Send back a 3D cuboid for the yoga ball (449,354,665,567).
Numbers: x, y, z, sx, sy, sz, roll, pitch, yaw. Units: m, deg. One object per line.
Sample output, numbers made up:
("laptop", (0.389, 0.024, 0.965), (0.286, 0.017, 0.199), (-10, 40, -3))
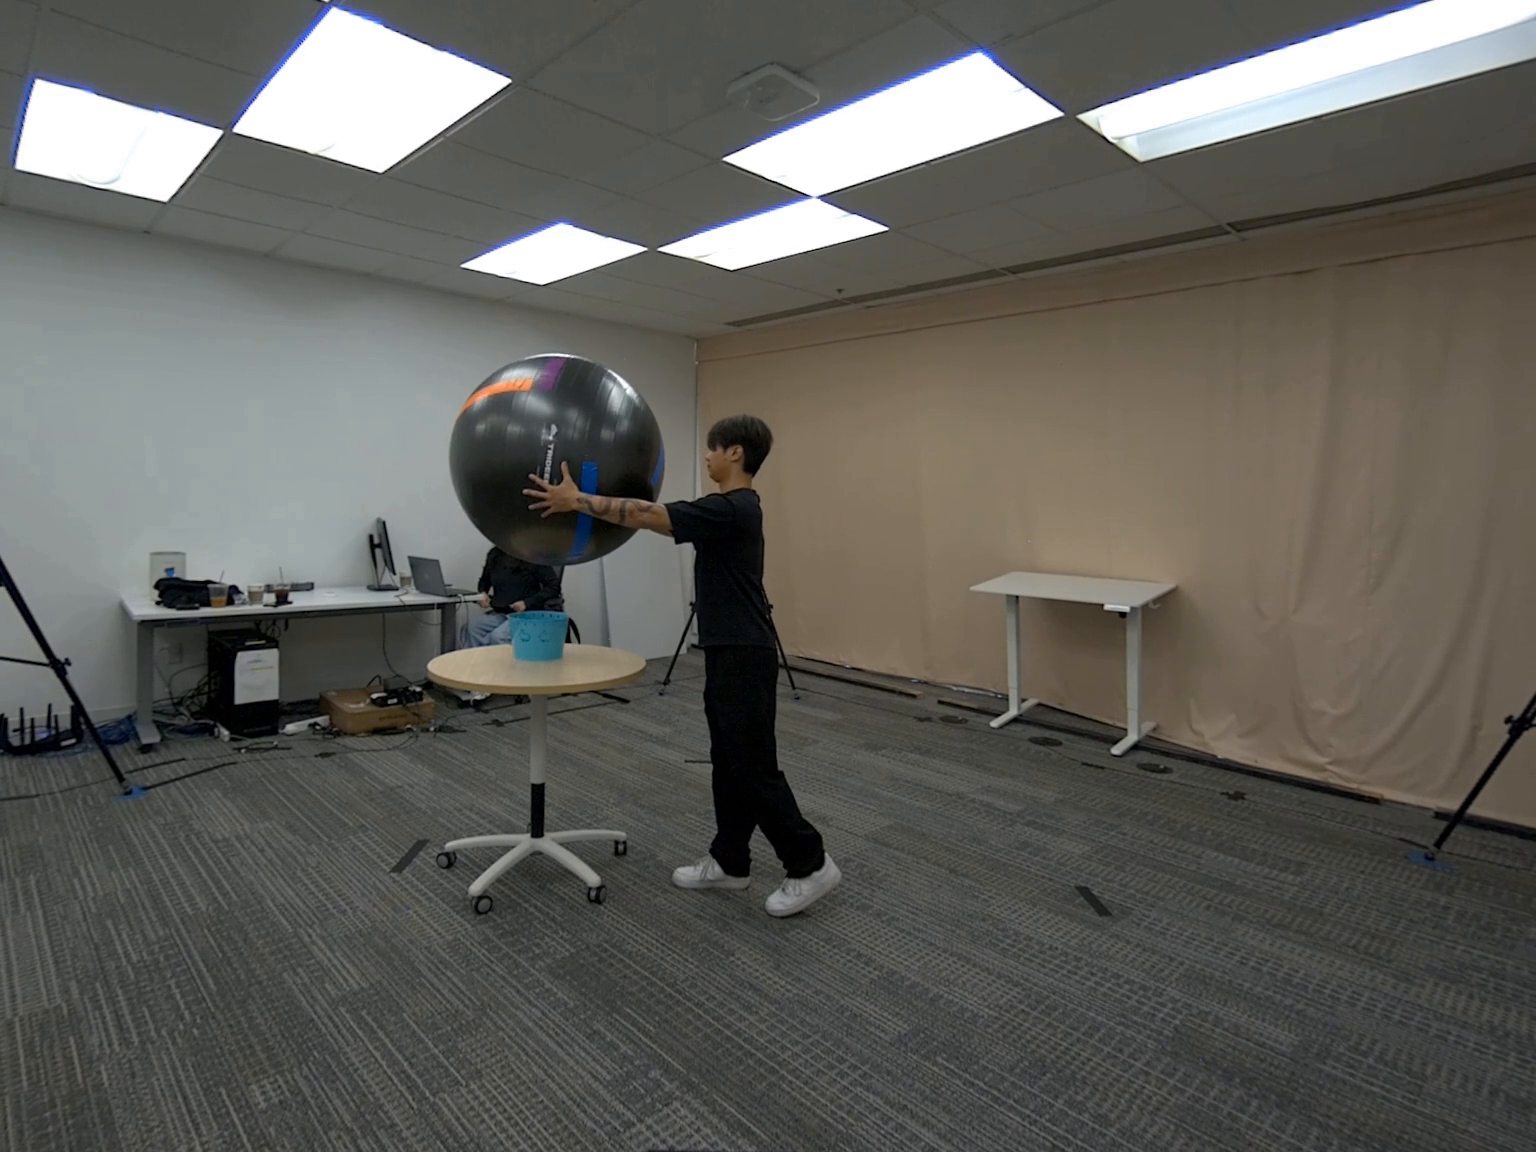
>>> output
("yoga ball", (-0.769, -0.411, 3.053), (0.757, 0.756, 0.761), (1, 4, -1))
